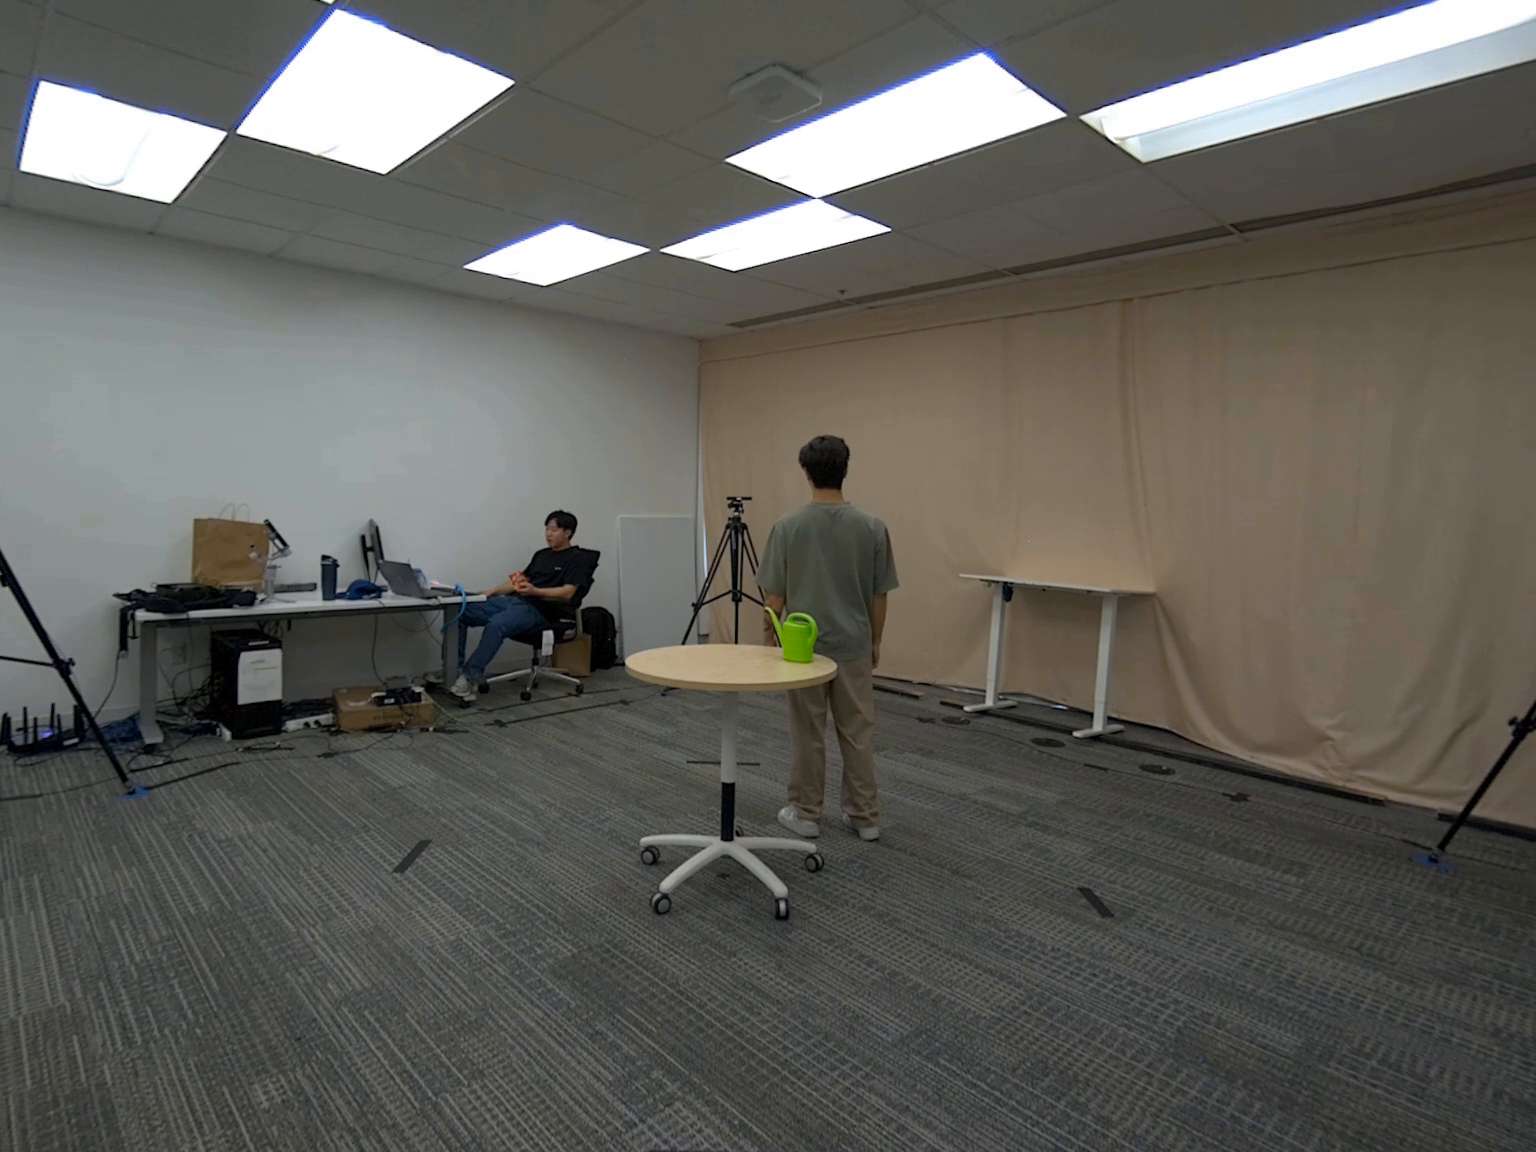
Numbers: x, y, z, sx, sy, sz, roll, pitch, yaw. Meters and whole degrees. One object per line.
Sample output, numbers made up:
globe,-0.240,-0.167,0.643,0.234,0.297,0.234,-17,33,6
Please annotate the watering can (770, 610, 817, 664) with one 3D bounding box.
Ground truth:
watering can,0.073,0.219,3.150,0.096,0.176,0.284,-2,6,-25
